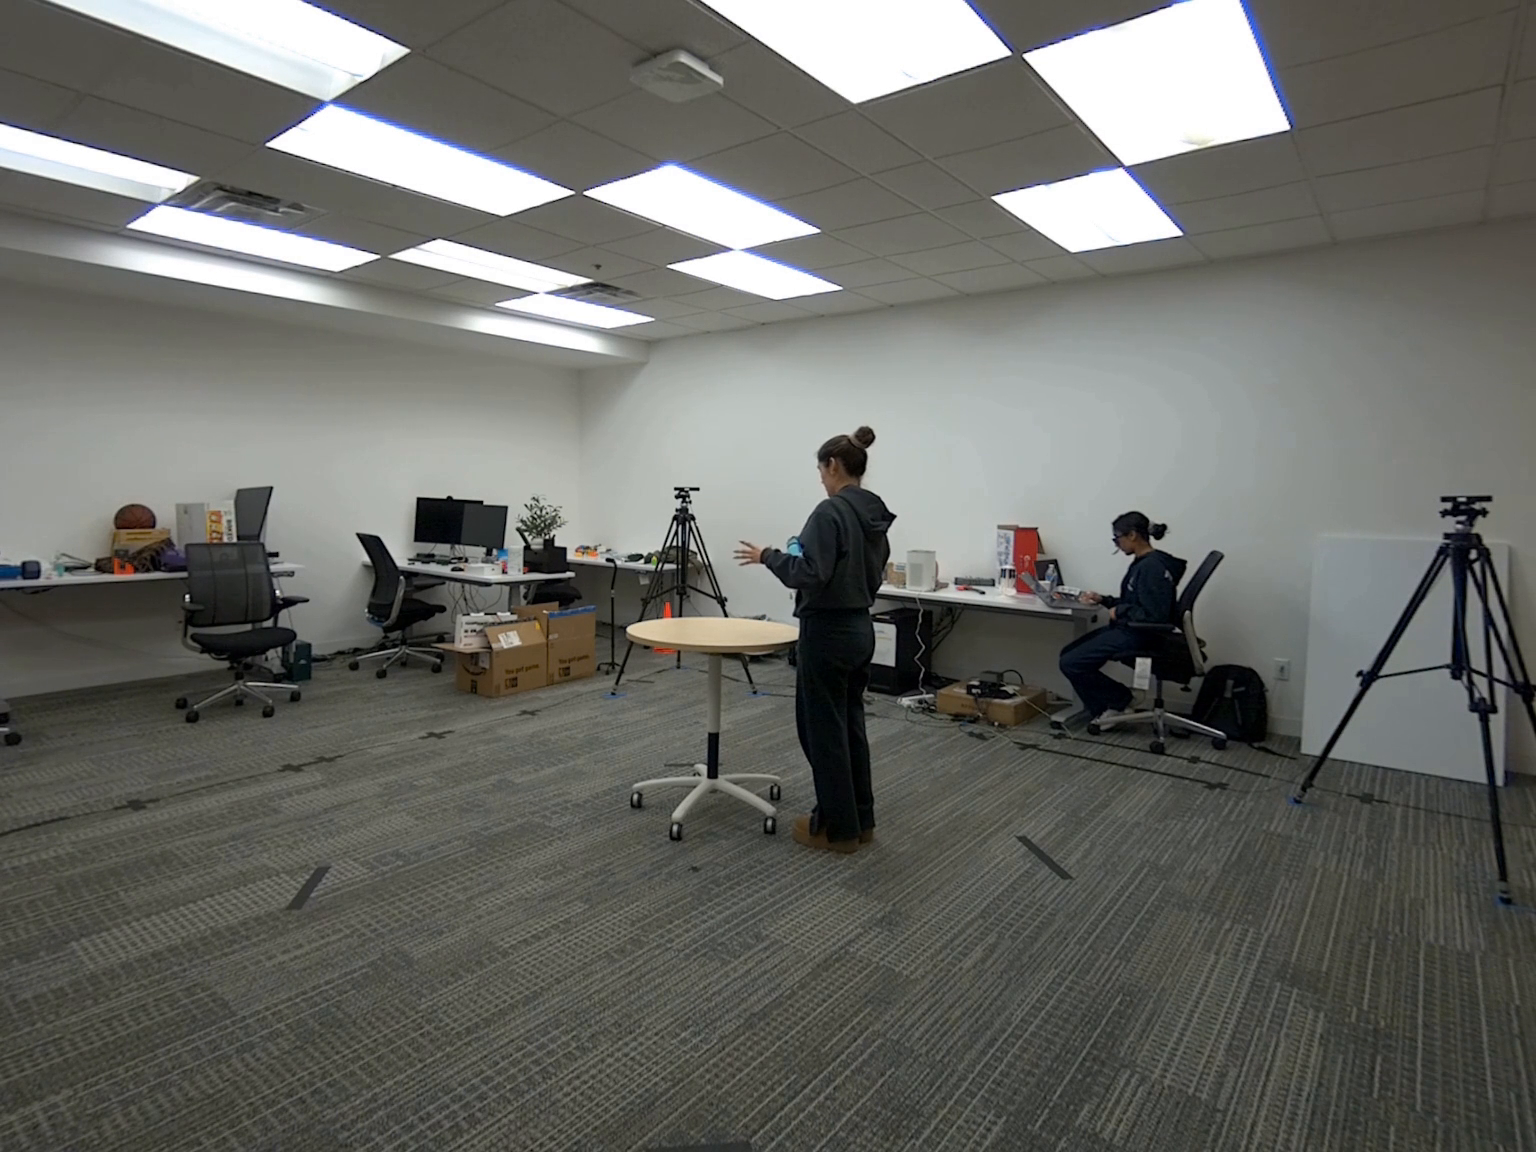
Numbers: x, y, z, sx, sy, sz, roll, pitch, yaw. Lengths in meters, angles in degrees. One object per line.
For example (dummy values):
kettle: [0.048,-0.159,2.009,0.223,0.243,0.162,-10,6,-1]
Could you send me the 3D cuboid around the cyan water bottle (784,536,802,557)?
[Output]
cyan water bottle: [0.125,-0.069,3.638,0.092,0.292,0.090,-7,-34,-7]
